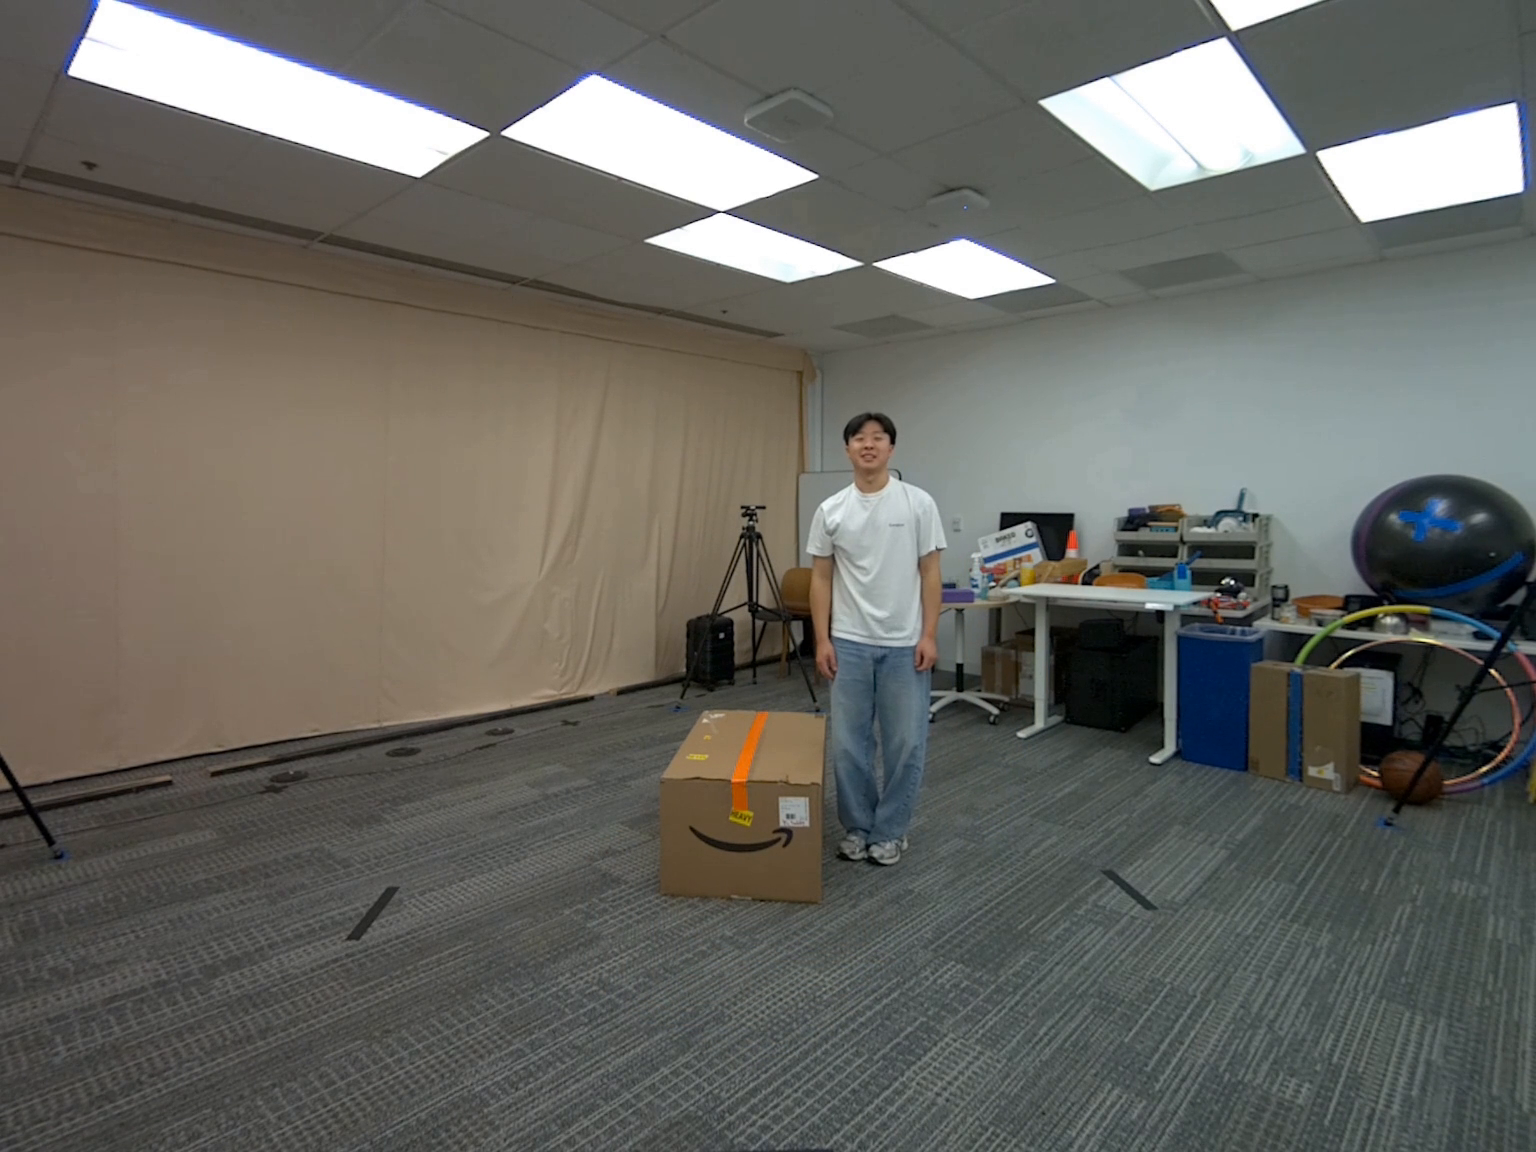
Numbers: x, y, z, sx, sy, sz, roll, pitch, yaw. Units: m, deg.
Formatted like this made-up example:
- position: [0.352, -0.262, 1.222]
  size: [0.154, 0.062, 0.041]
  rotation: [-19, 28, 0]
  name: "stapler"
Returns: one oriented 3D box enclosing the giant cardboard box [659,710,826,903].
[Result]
- position: [-0.057, 0.887, 3.471]
  size: [0.582, 0.425, 1.021]
  rotation: [-1, 5, 5]
  name: "giant cardboard box"
